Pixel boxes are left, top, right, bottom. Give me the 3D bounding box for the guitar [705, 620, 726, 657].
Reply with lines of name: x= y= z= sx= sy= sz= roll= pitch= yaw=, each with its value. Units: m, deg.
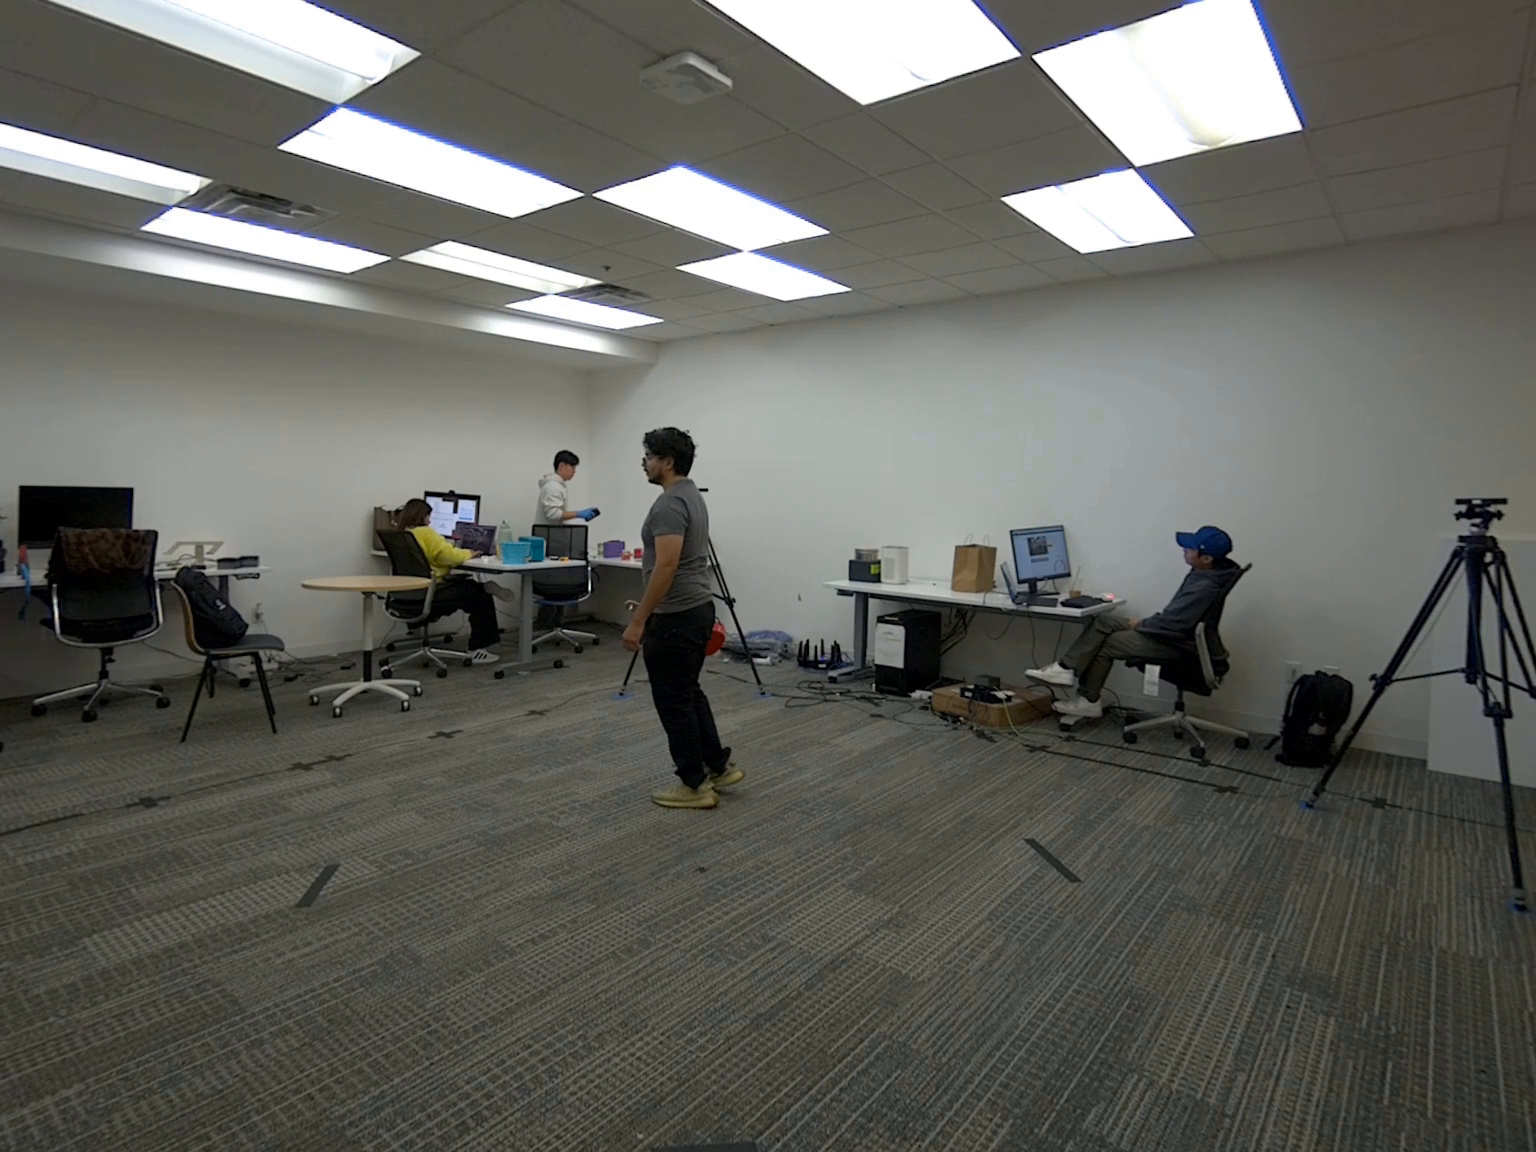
guitar: x=-0.459 y=0.248 z=4.036 sx=0.492 sy=0.190 sz=0.072 roll=16 pitch=42 yaw=-9
